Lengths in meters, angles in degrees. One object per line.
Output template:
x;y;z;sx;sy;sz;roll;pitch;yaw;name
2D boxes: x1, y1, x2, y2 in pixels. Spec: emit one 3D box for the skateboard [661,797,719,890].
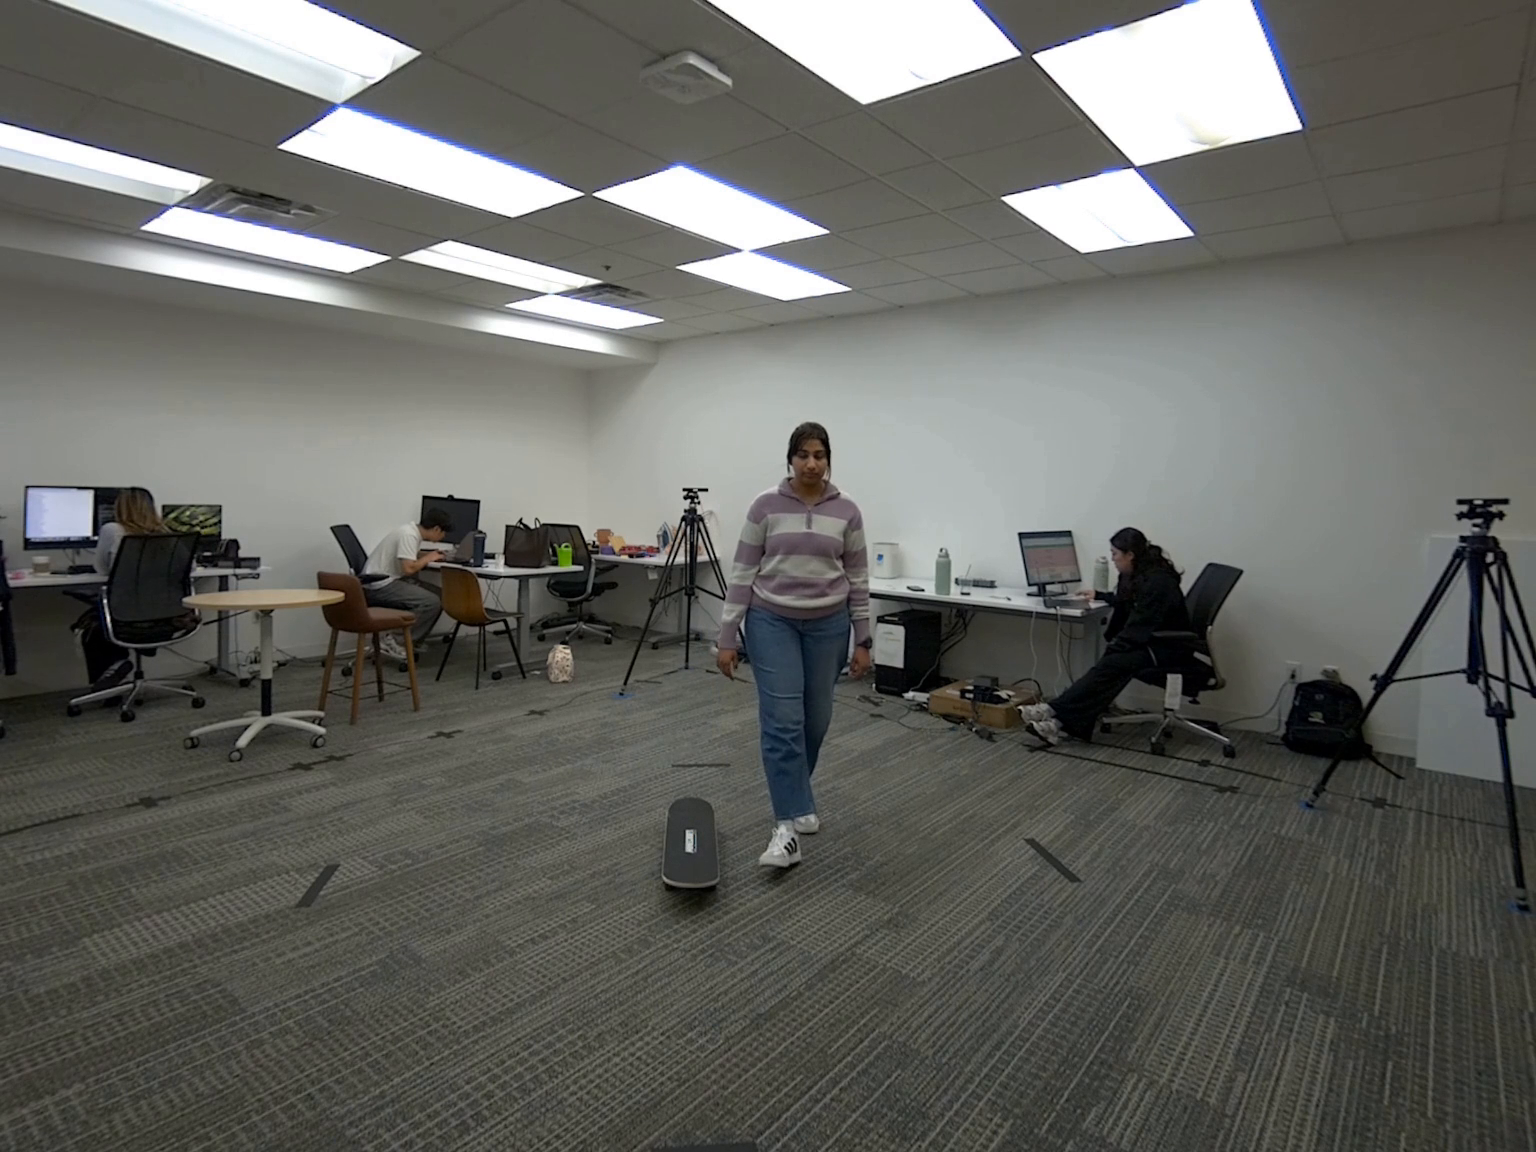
-0.294;1.005;3.145;0.193;0.110;0.791;1;5;-5;skateboard
